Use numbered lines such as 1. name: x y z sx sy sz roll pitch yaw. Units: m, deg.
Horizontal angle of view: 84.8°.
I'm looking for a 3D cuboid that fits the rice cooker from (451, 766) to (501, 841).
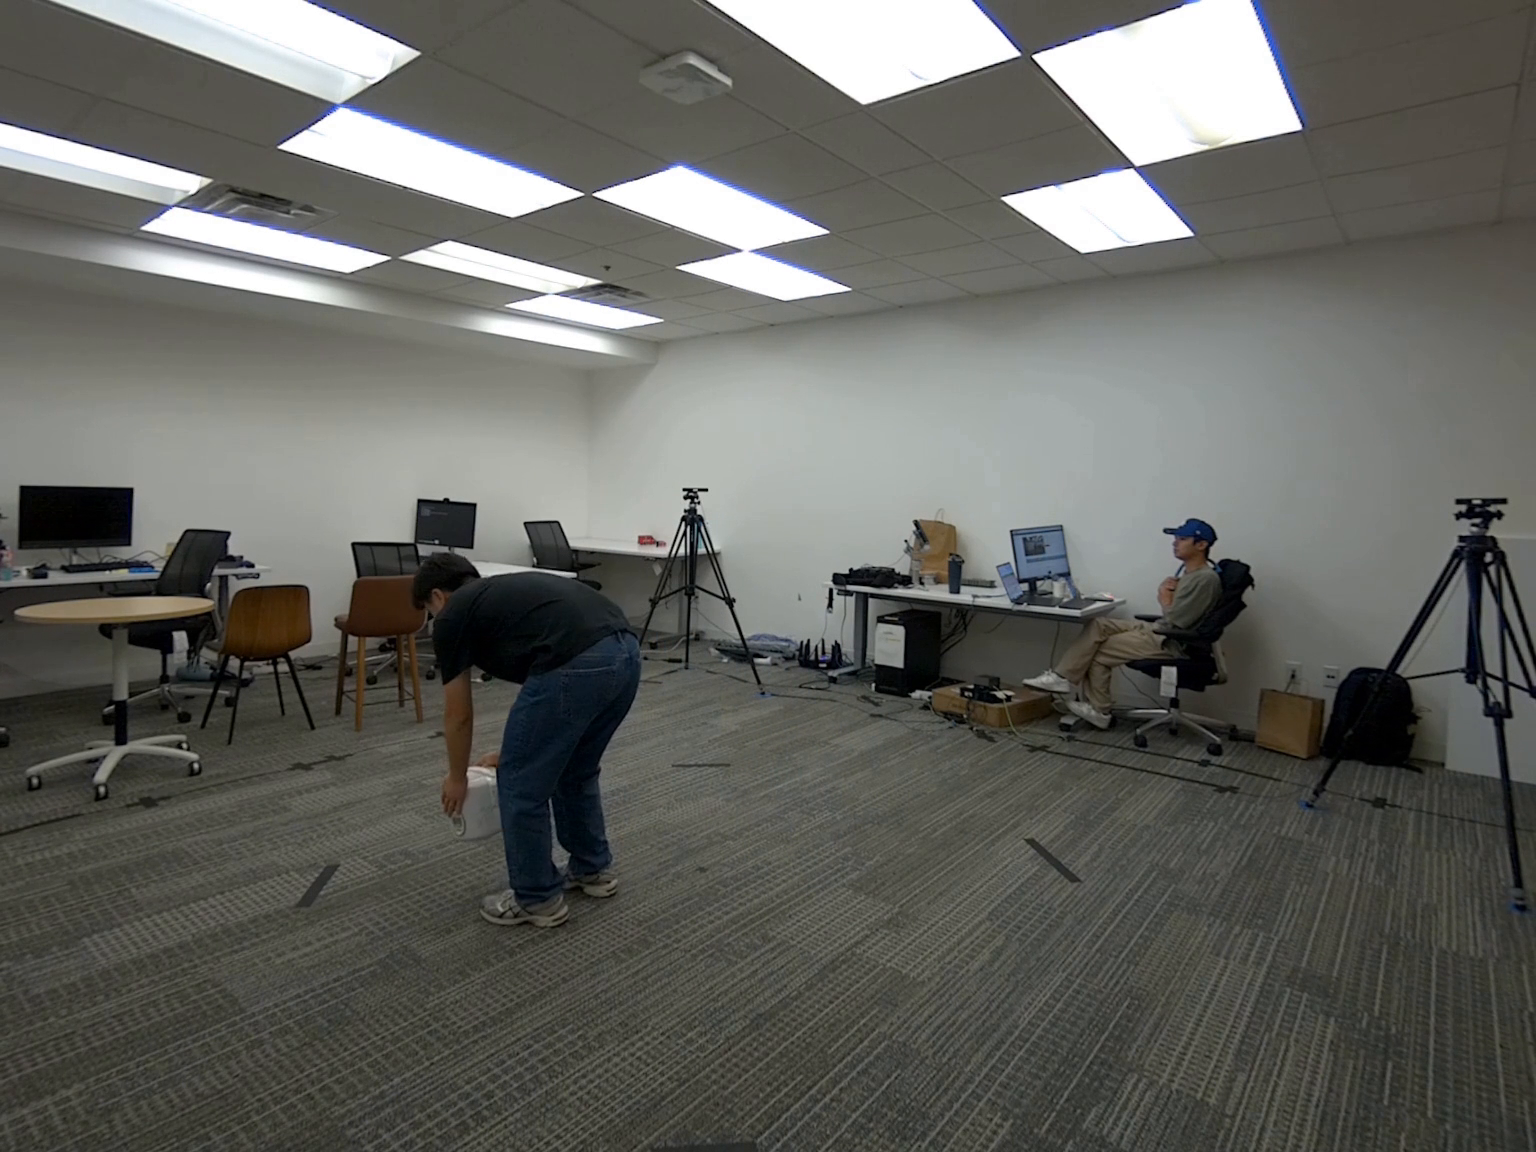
1. rice cooker: -1.023 0.768 2.956 0.225 0.232 0.213 -8 3 26
